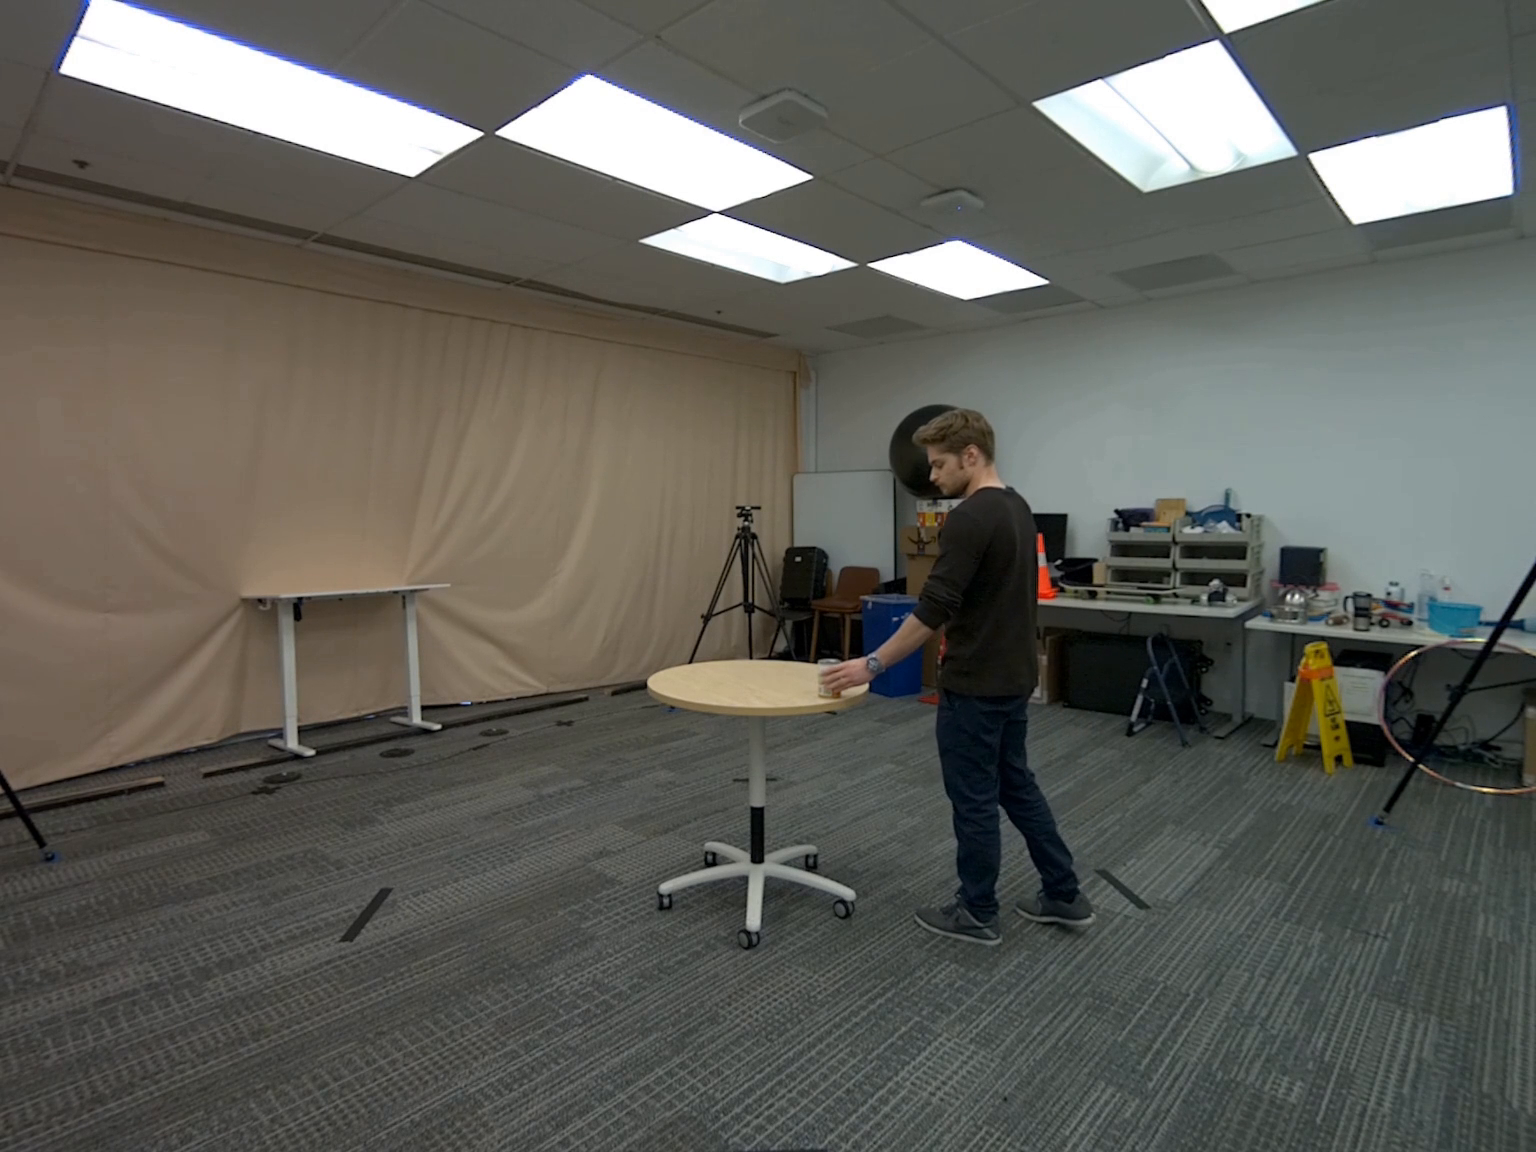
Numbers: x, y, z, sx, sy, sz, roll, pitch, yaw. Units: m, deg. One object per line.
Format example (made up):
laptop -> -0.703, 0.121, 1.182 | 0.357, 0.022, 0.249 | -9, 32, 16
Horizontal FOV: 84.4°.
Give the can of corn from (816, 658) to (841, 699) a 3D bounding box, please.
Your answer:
can of corn -> 0.207, 0.333, 2.697 | 0.074, 0.110, 0.074 | 0, 6, -2
